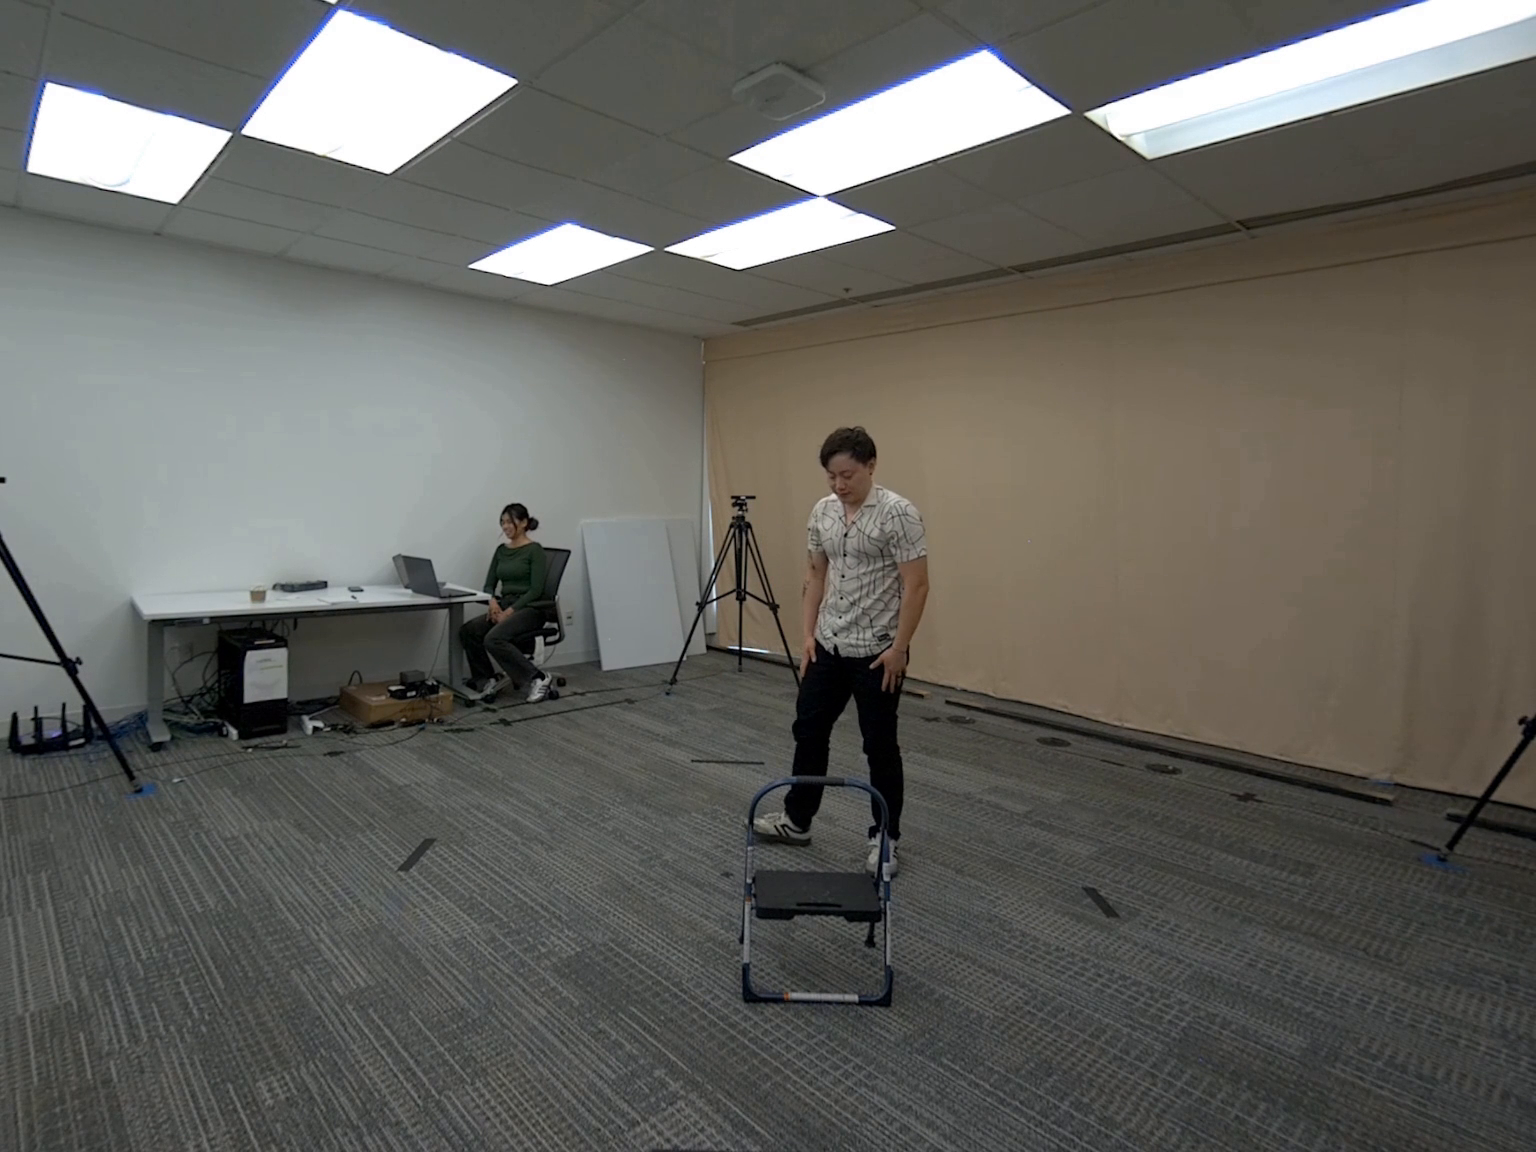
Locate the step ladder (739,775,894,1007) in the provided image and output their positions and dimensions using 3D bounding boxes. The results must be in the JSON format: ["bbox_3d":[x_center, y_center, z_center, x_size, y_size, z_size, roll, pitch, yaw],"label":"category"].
[{"bbox_3d":[0.130,0.867,2.458,0.430,0.604,0.350,1,4,-1],"label":"step ladder"}]
